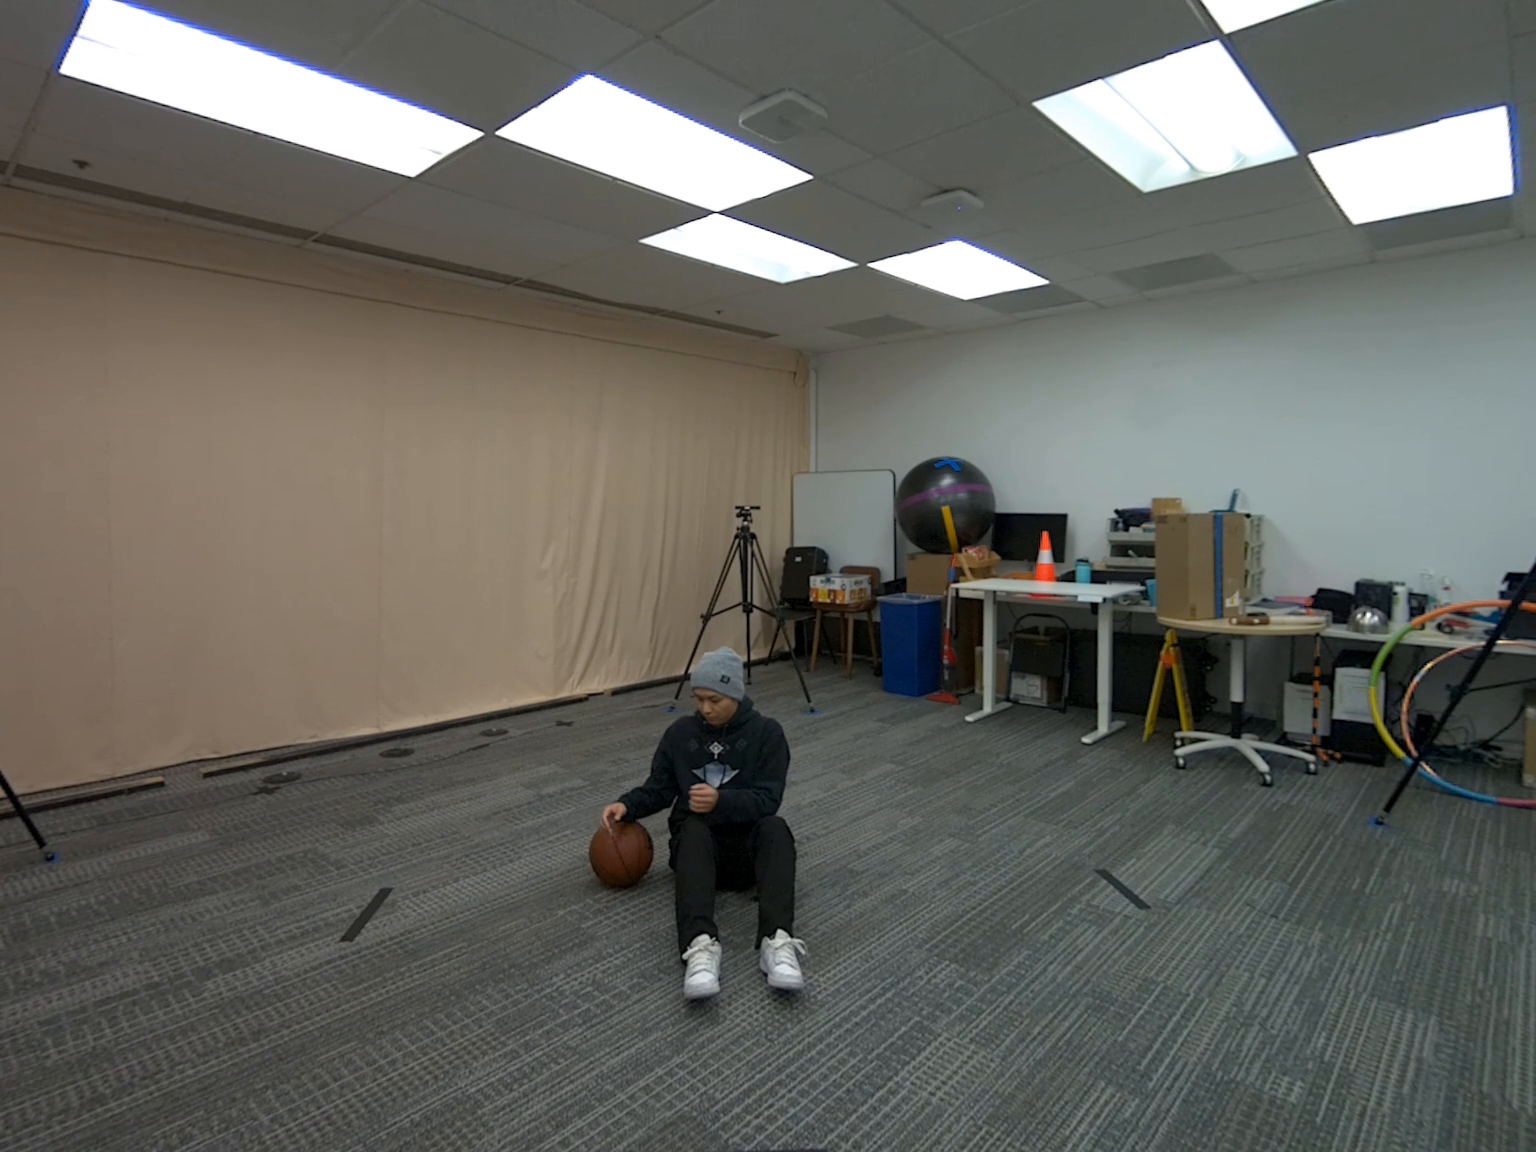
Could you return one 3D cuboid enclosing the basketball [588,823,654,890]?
[{"bbox_3d":[-0.536,1.013,3.119,0.236,0.235,0.237,0,4,-2],"label":"basketball"}]
